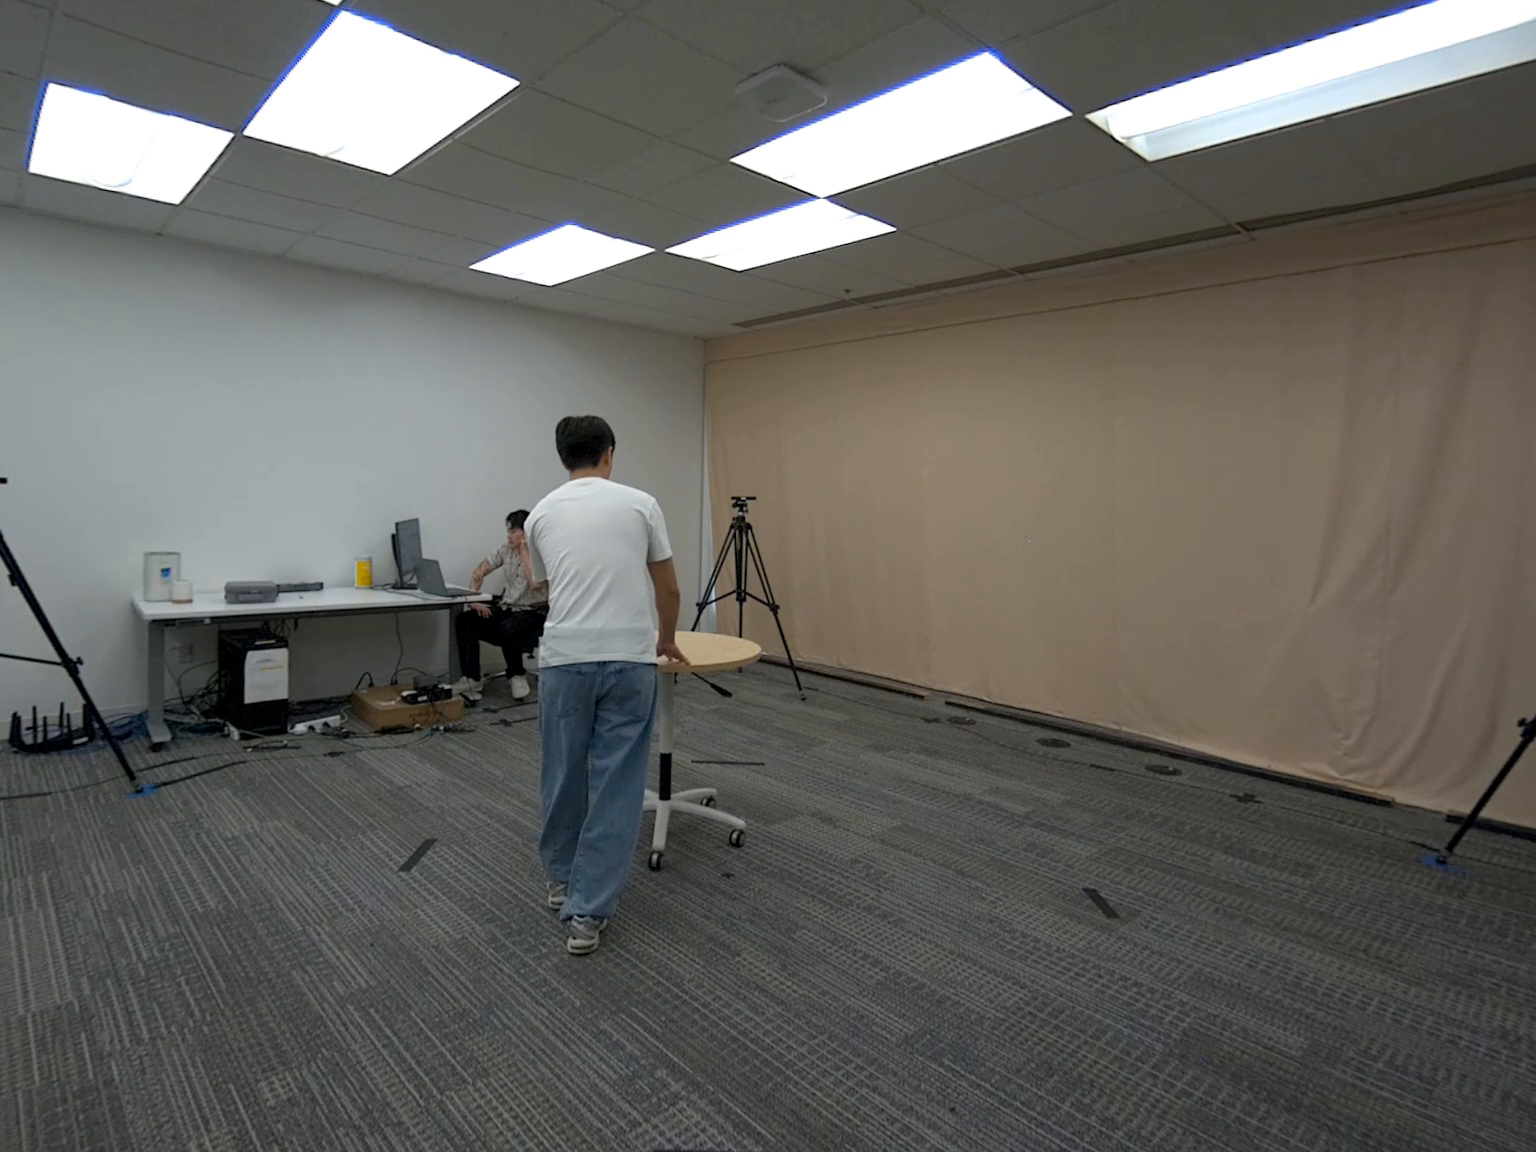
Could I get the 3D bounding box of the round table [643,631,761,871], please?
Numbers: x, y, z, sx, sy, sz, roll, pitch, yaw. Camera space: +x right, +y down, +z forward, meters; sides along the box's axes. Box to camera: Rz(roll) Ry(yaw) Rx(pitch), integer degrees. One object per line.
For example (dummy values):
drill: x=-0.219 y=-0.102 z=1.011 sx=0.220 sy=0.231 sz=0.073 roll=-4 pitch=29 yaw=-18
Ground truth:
round table: x=-0.424 y=0.682 z=3.466 sx=0.763 sy=0.792 sz=0.766 roll=1 pitch=4 yaw=-1
